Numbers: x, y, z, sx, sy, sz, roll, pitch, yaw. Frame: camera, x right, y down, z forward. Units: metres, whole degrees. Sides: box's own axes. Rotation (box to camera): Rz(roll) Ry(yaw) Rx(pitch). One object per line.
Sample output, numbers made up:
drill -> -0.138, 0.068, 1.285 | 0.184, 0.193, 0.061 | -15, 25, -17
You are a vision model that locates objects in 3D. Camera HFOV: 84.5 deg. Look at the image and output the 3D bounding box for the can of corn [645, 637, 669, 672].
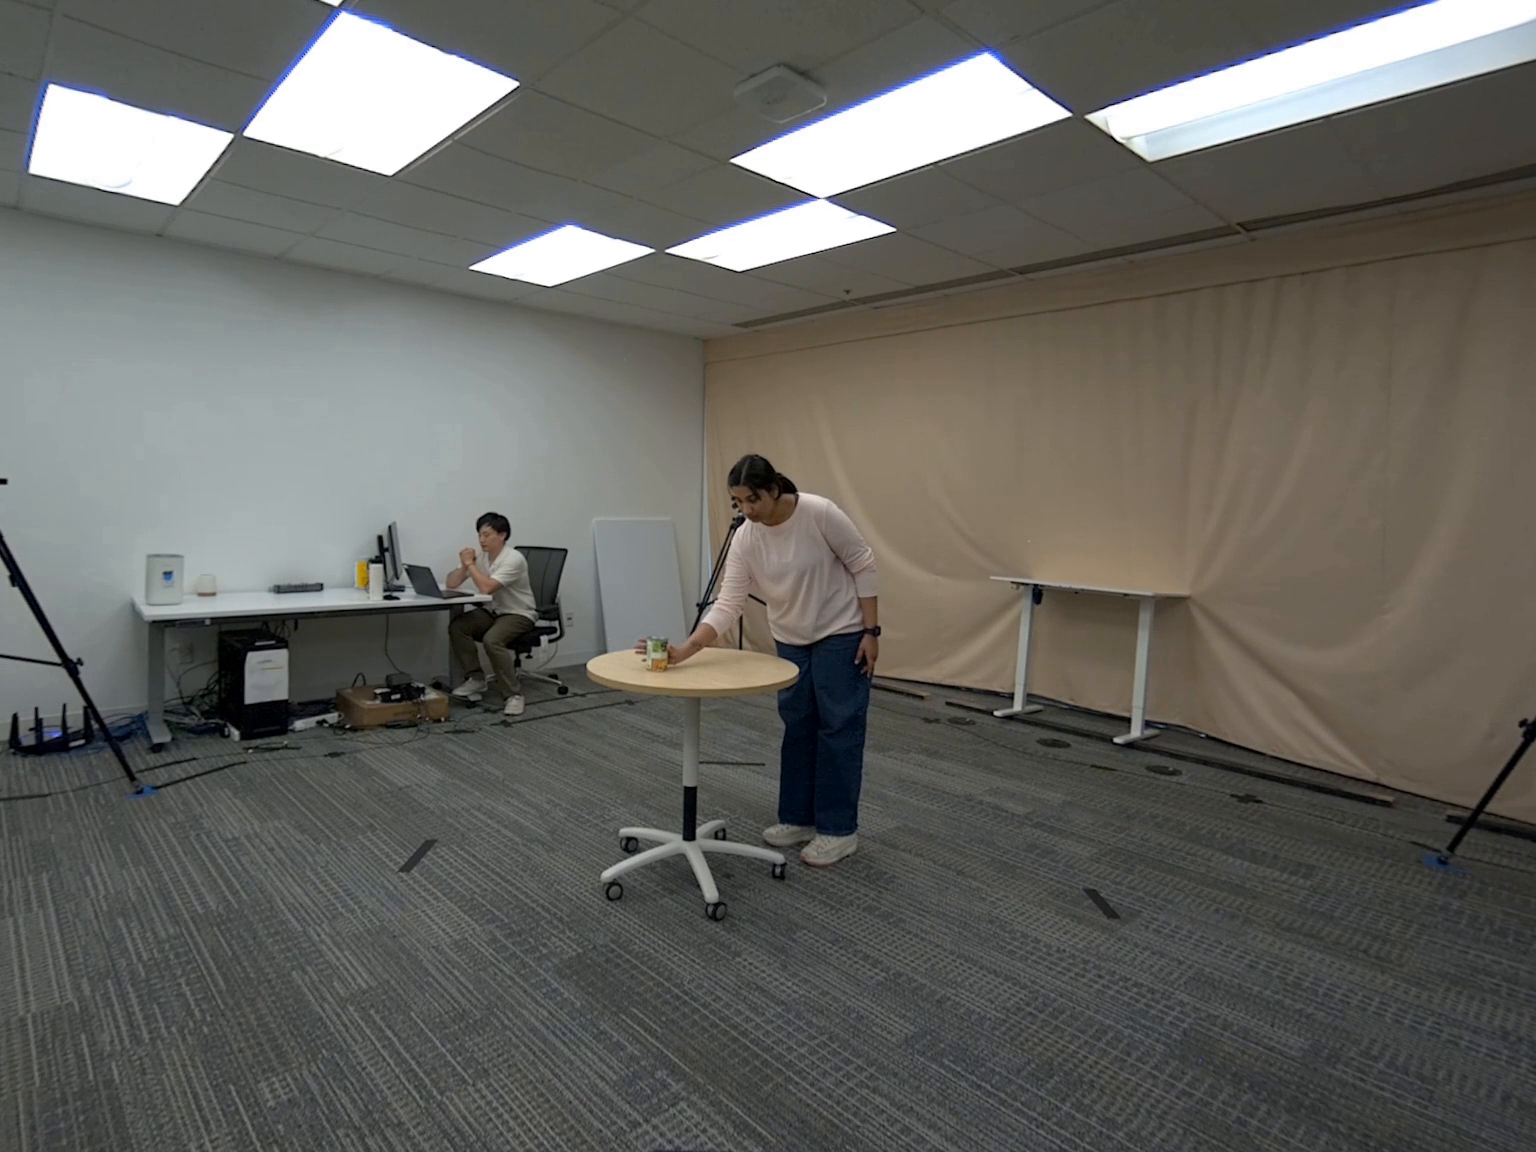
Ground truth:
can of corn -> -0.401, 0.274, 2.960 | 0.074, 0.111, 0.074 | -3, 1, -1
